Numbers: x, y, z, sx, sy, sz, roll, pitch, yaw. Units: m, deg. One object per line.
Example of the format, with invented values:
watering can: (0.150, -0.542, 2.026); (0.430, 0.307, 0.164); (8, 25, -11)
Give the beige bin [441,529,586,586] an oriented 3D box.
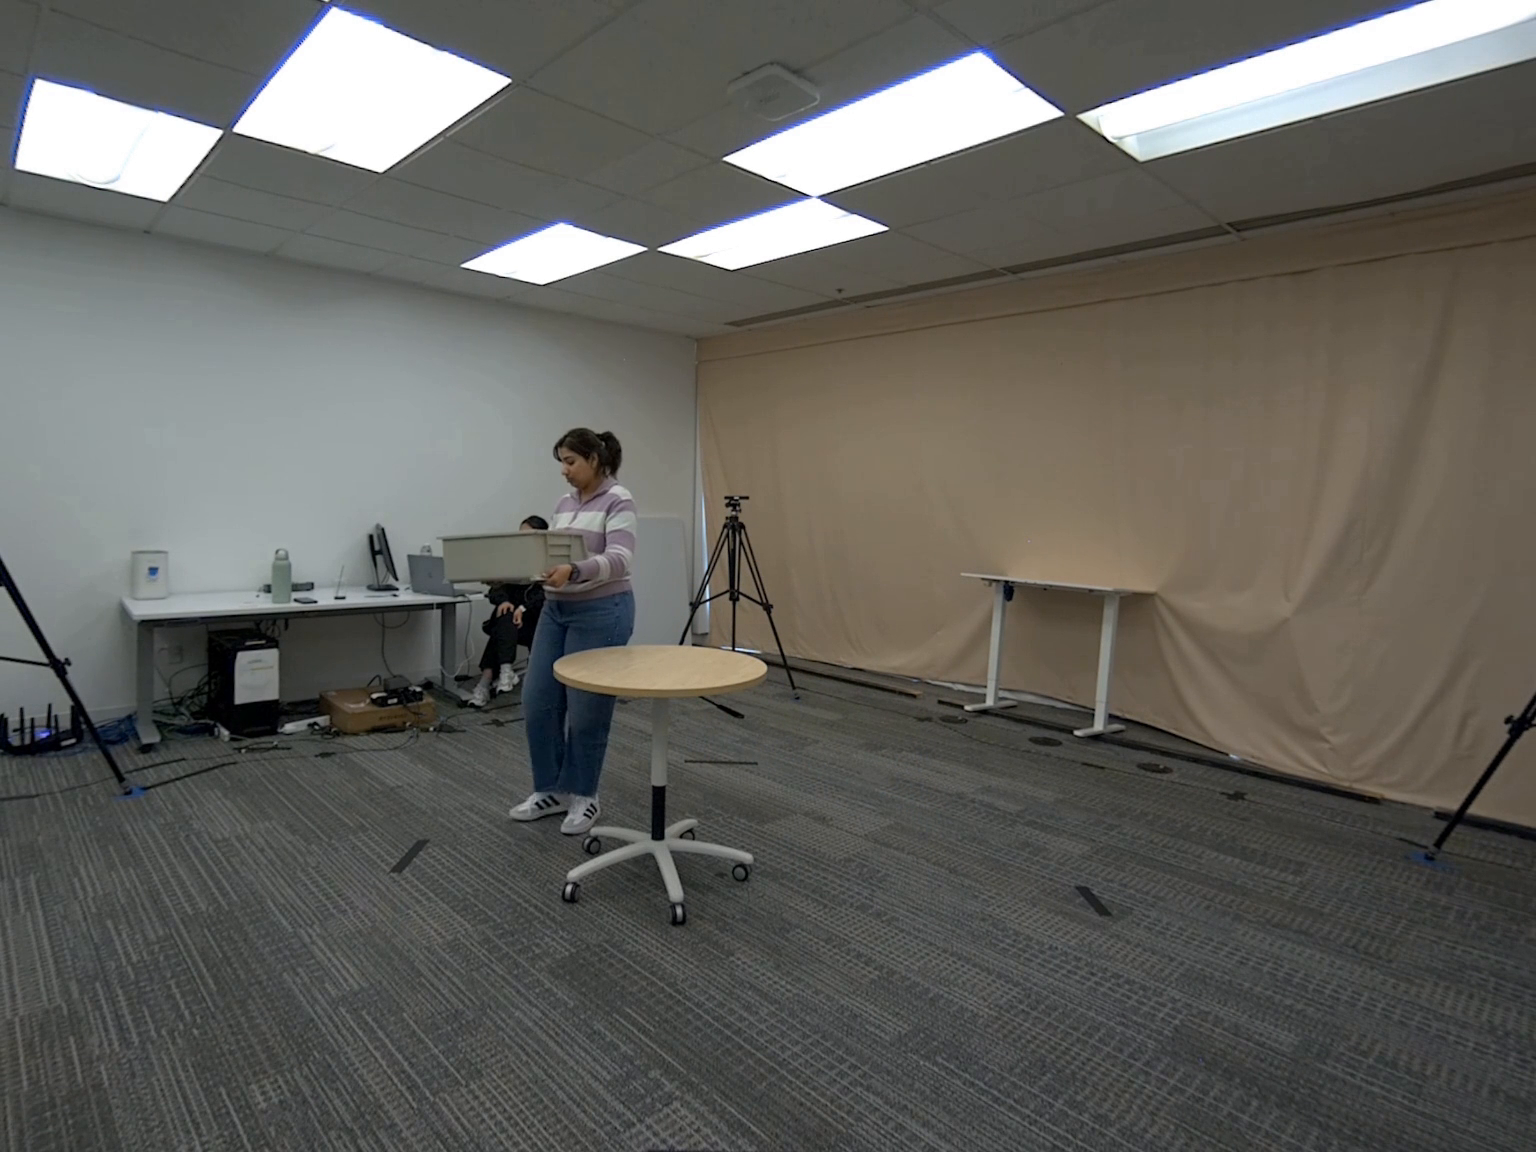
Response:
beige bin: (-0.980, -0.071, 3.214); (0.428, 0.189, 0.373); (-1, 3, 16)
